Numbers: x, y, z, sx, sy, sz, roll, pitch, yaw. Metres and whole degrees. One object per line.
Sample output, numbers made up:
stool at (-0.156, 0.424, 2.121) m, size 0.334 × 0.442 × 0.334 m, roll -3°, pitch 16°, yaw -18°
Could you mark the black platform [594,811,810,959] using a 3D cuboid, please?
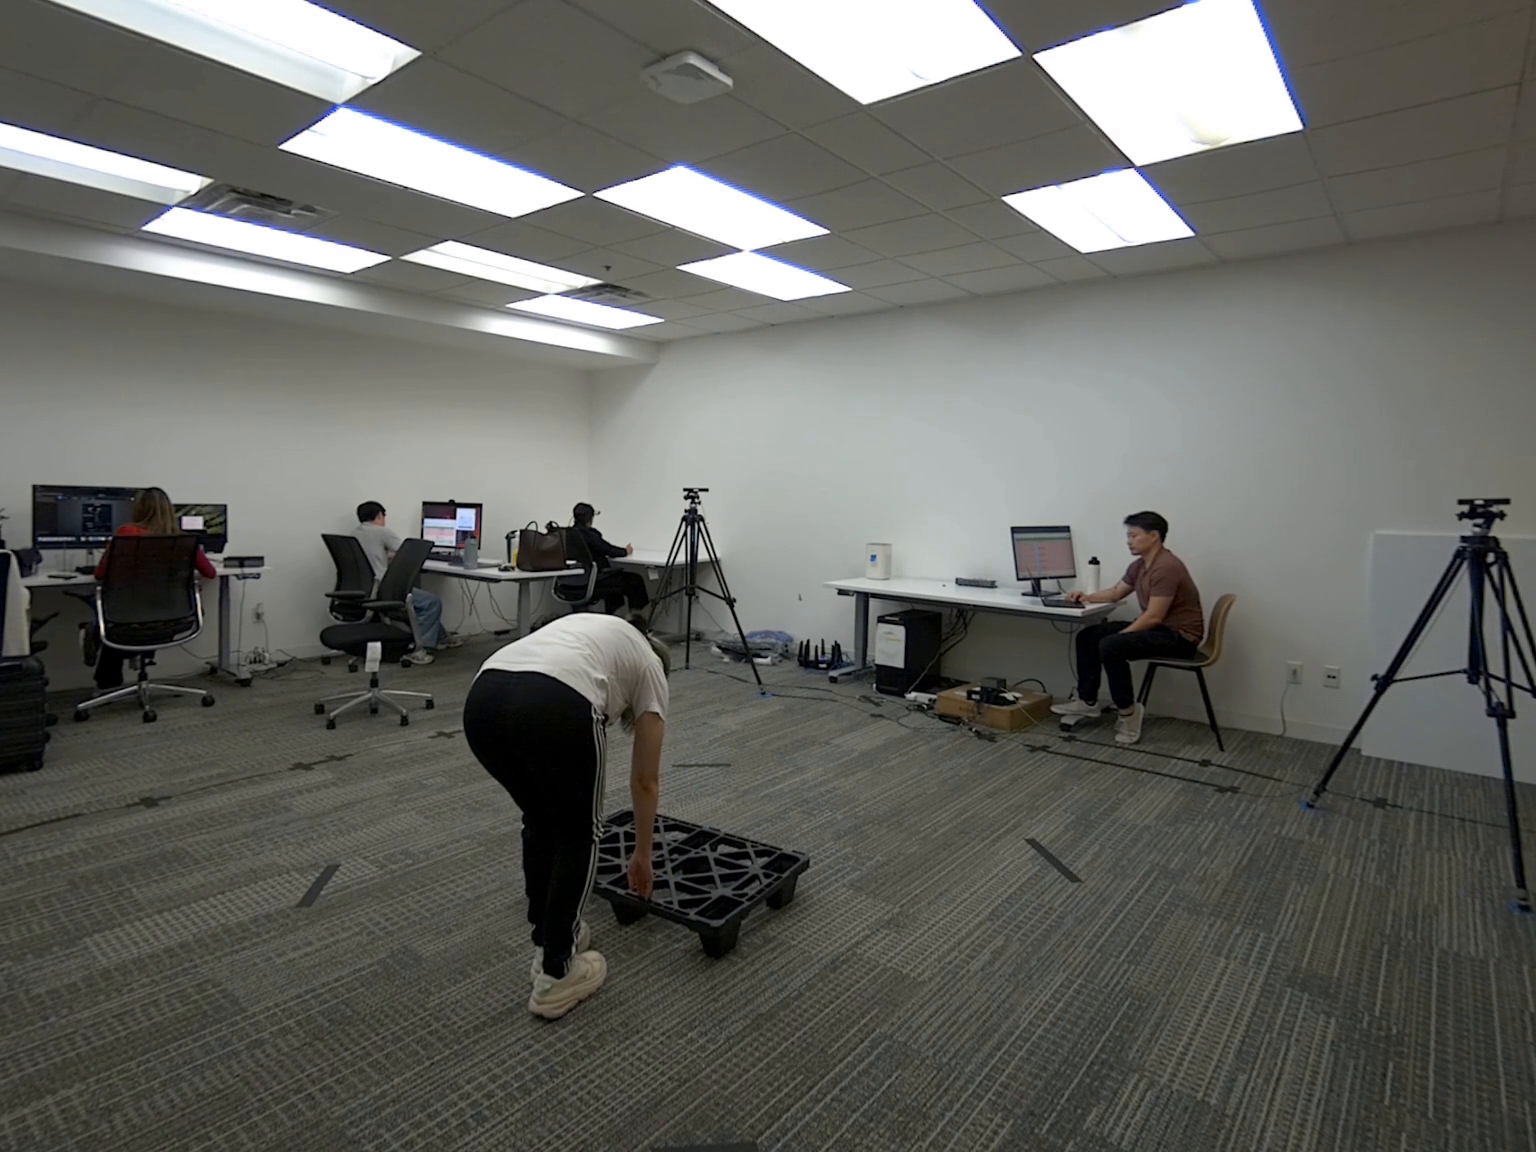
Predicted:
black platform at (-0.349, 1.020, 2.894) m, size 0.830 × 0.143 × 0.589 m, roll 4°, pitch 7°, yaw 32°
